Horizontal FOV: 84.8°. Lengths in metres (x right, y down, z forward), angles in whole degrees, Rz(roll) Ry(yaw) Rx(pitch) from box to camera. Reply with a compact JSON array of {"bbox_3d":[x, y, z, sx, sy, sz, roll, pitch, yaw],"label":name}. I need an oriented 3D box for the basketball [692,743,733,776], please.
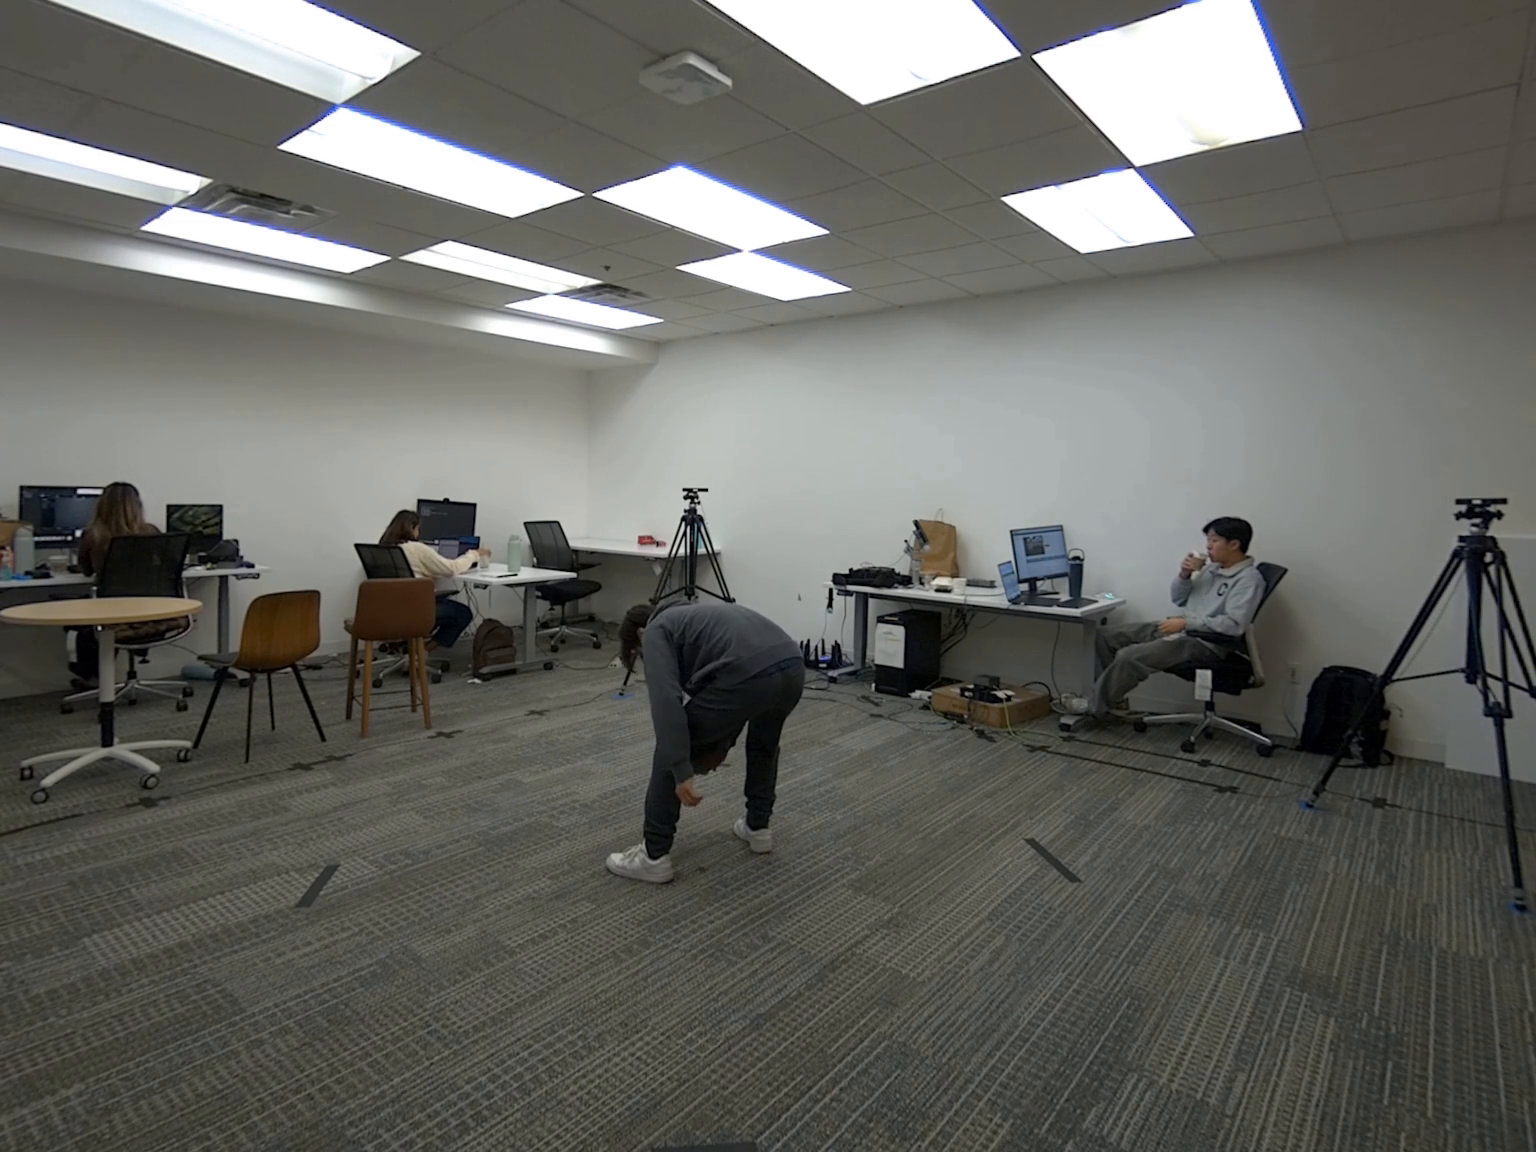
[{"bbox_3d":[-0.276,0.648,3.404,0.235,0.235,0.237,1,4,-2],"label":"basketball"}]
